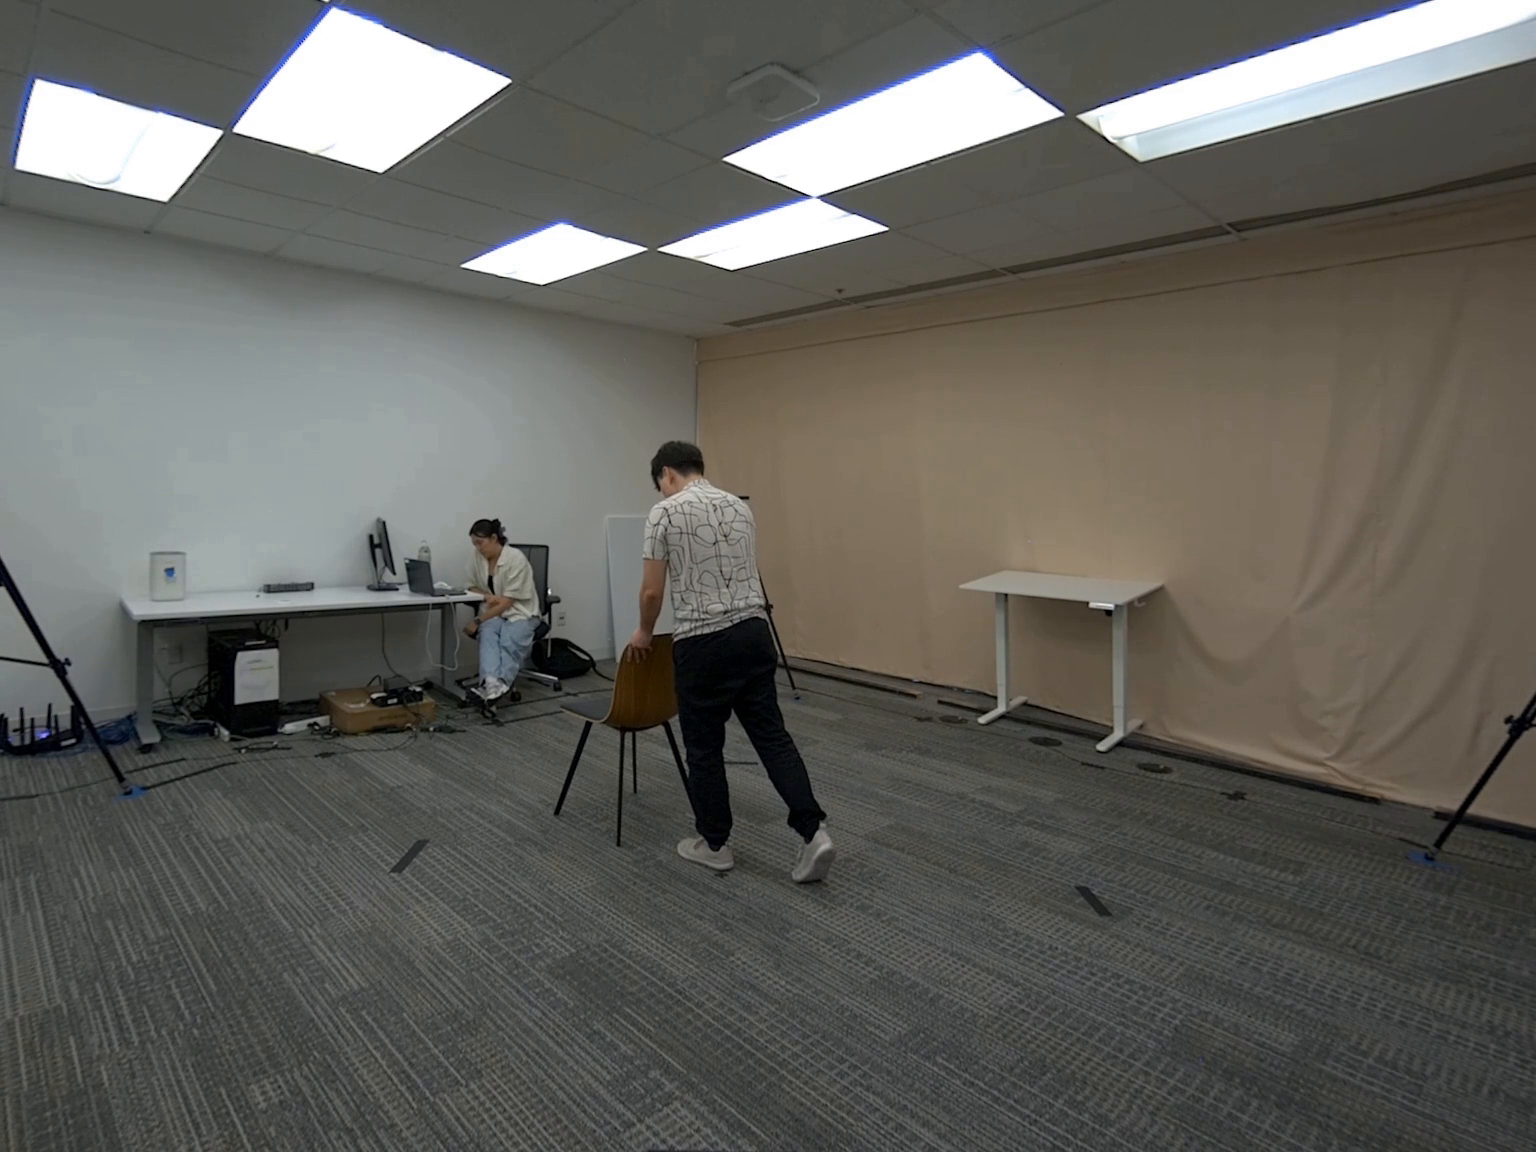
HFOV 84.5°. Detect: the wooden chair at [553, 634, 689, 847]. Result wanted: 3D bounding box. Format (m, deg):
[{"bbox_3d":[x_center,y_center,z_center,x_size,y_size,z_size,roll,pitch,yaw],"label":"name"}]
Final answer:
[{"bbox_3d":[-0.610,0.618,3.621,0.537,0.873,0.467,11,9,43],"label":"wooden chair"}]
